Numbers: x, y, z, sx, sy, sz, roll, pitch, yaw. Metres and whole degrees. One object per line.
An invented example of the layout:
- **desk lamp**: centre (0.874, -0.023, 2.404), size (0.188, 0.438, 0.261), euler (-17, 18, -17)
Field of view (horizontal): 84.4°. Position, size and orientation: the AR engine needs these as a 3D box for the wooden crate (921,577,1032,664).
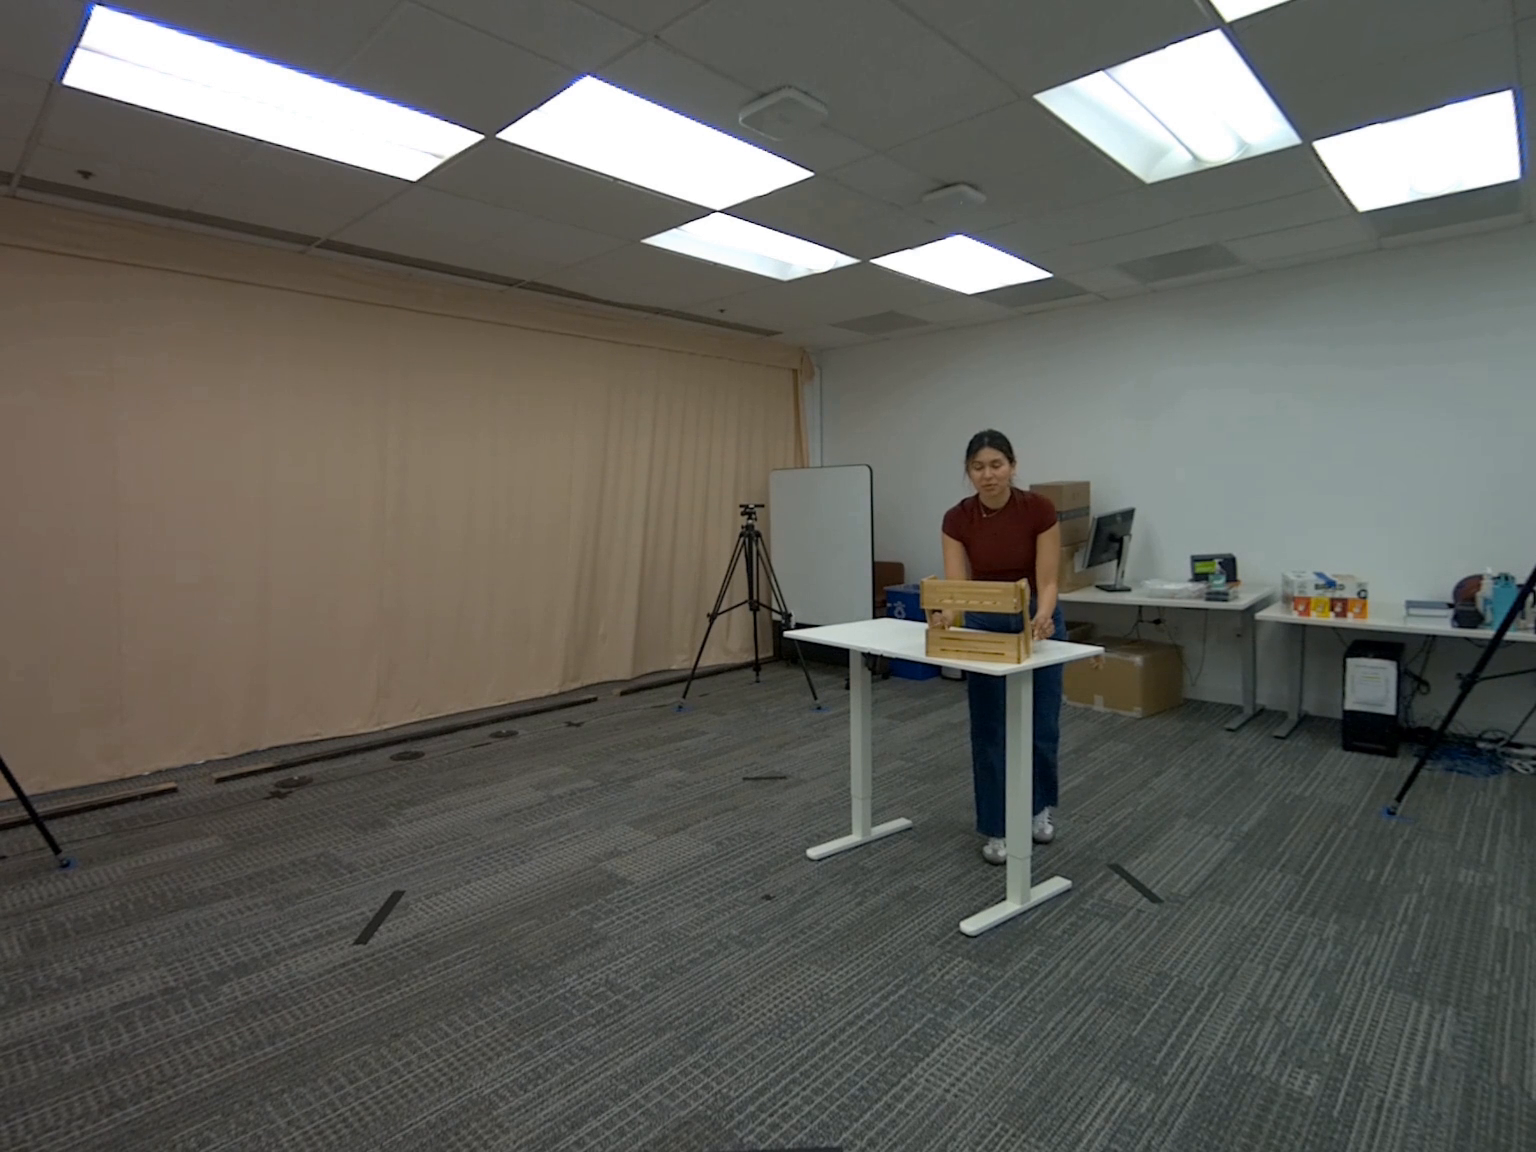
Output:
- **wooden crate**: centre (0.710, 0.134, 2.776), size (0.333, 0.273, 0.294), euler (2, 5, 28)
